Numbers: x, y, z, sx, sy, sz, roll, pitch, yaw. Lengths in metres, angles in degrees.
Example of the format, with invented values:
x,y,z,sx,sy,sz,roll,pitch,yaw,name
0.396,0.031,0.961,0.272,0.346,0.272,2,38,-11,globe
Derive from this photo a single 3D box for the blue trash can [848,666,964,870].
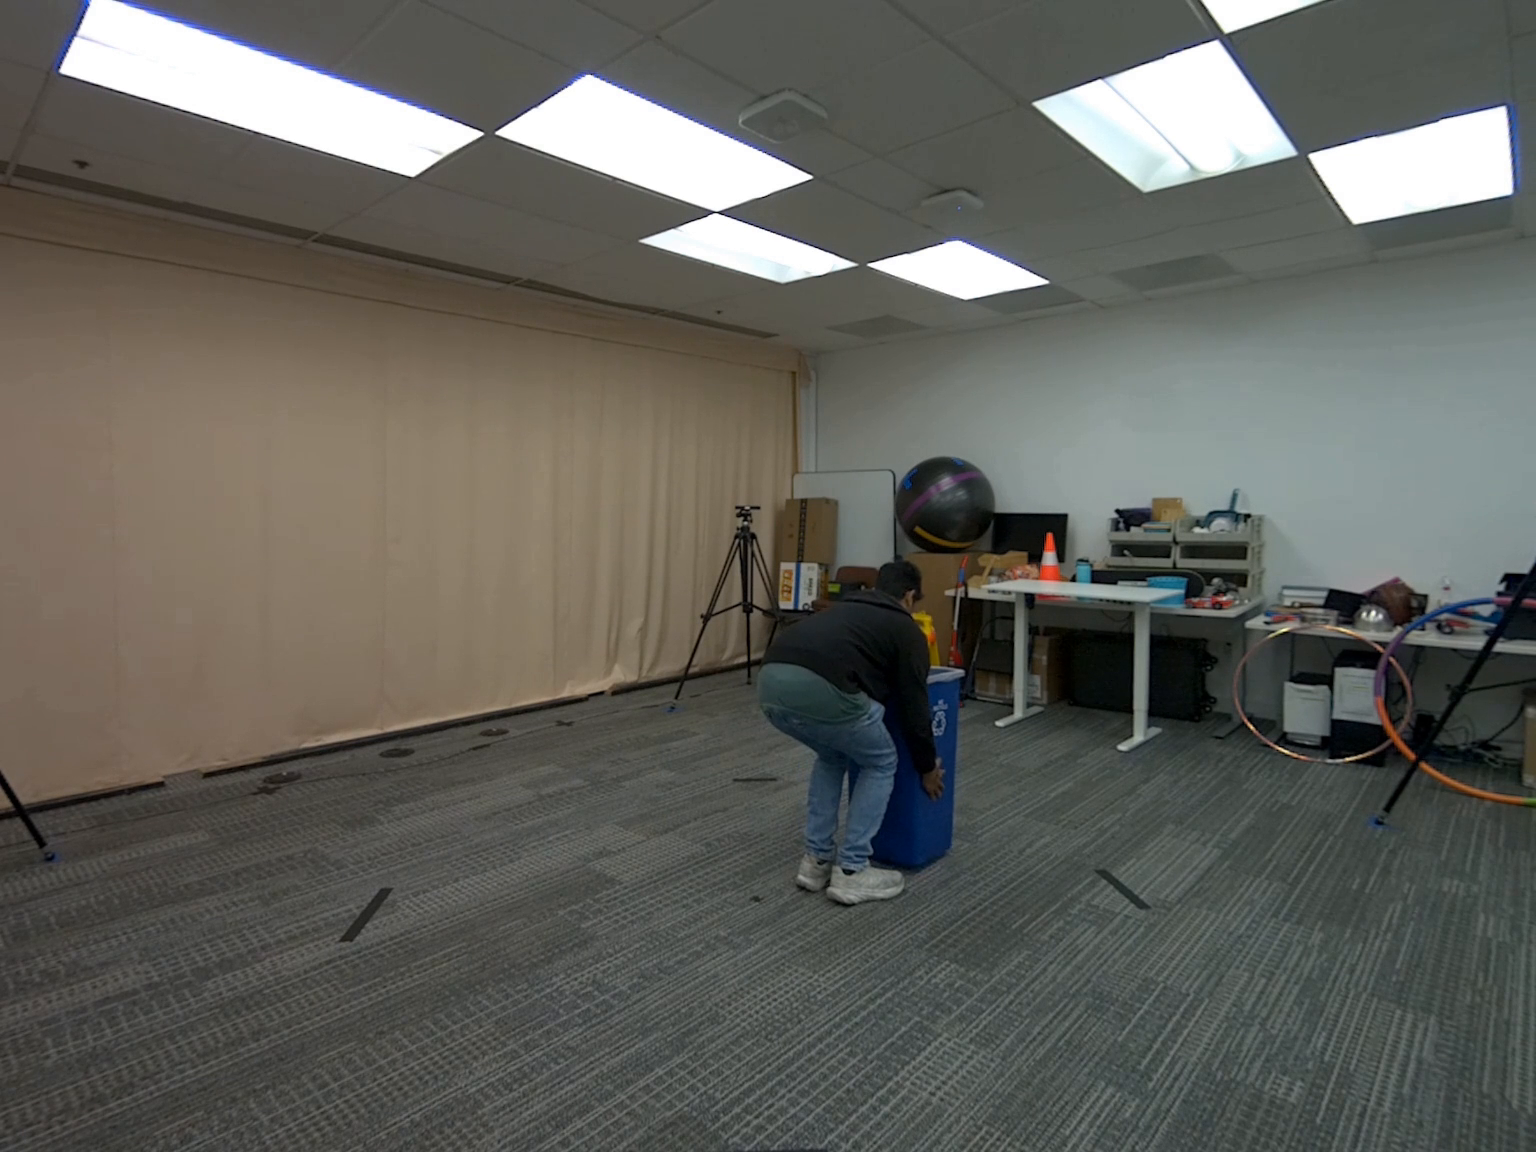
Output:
x,y,z,sx,sy,sz,roll,pitch,yaw,name
0.551,0.729,3.380,0.390,0.713,0.362,1,0,39,blue trash can
